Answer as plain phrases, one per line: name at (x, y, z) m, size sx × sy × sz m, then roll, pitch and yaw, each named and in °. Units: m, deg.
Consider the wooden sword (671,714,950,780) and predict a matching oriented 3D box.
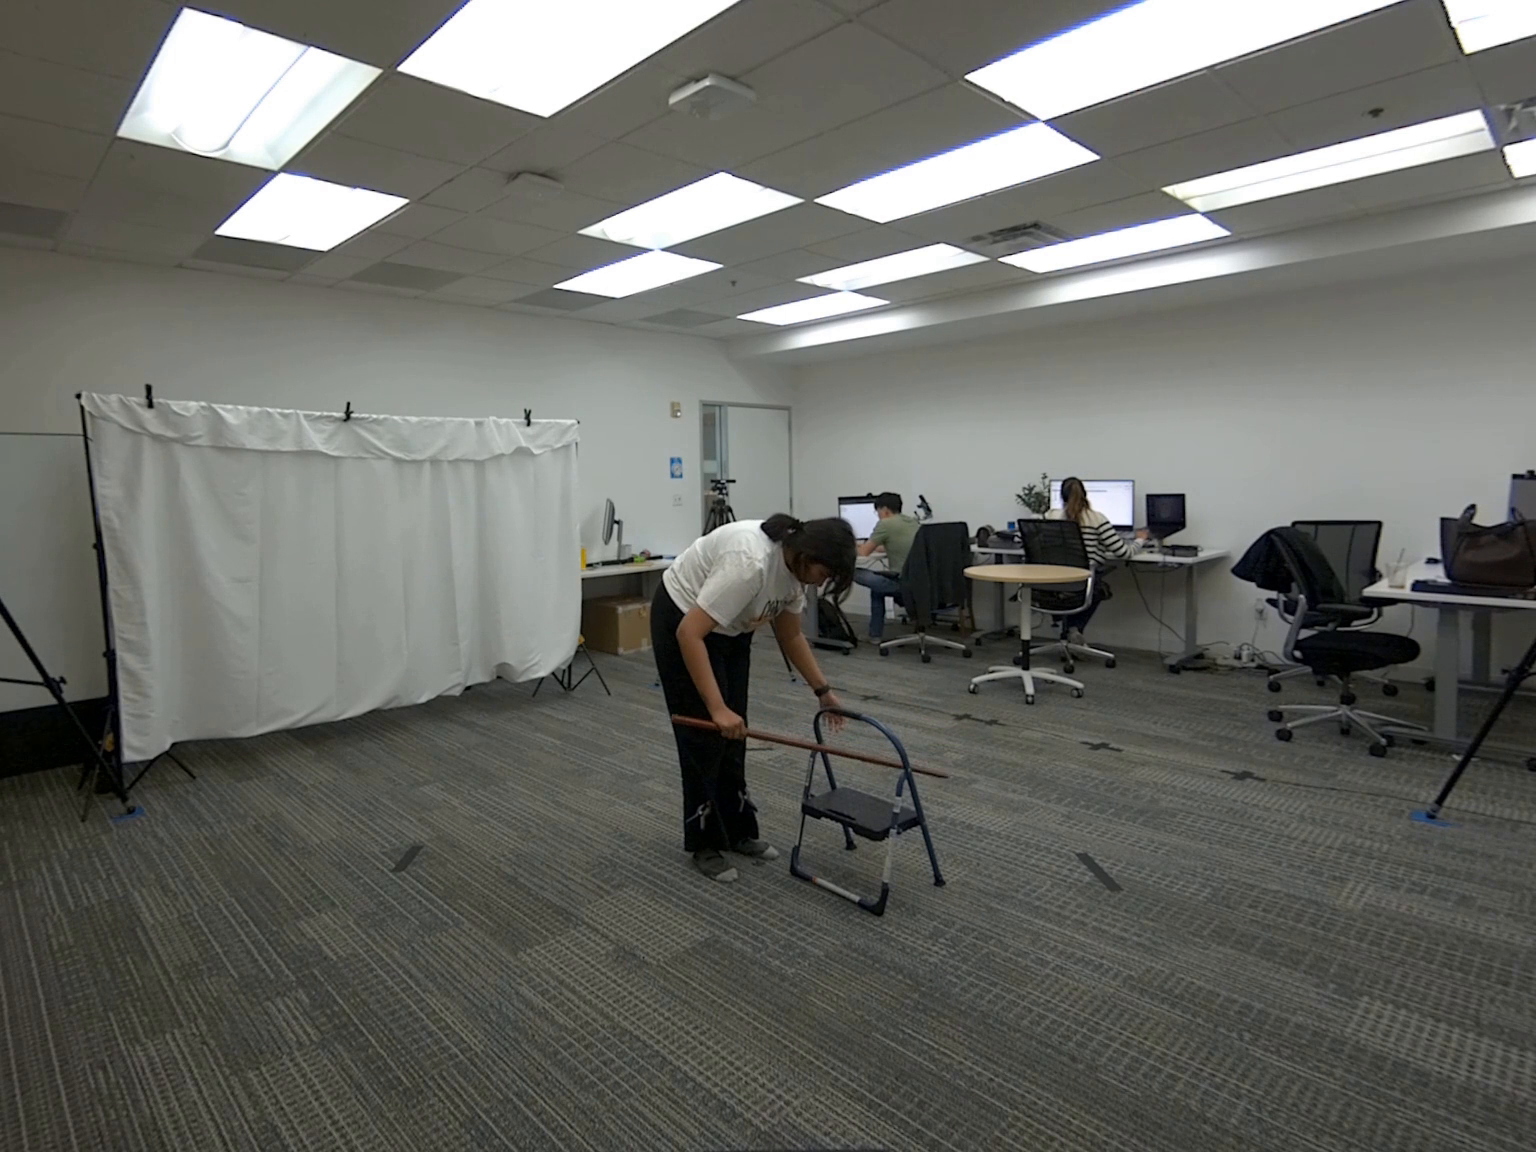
wooden sword at (0.169, 0.565, 2.858) m, size 1.006 × 0.024 × 0.051 m, roll 13°, pitch -16°, yaw -16°
